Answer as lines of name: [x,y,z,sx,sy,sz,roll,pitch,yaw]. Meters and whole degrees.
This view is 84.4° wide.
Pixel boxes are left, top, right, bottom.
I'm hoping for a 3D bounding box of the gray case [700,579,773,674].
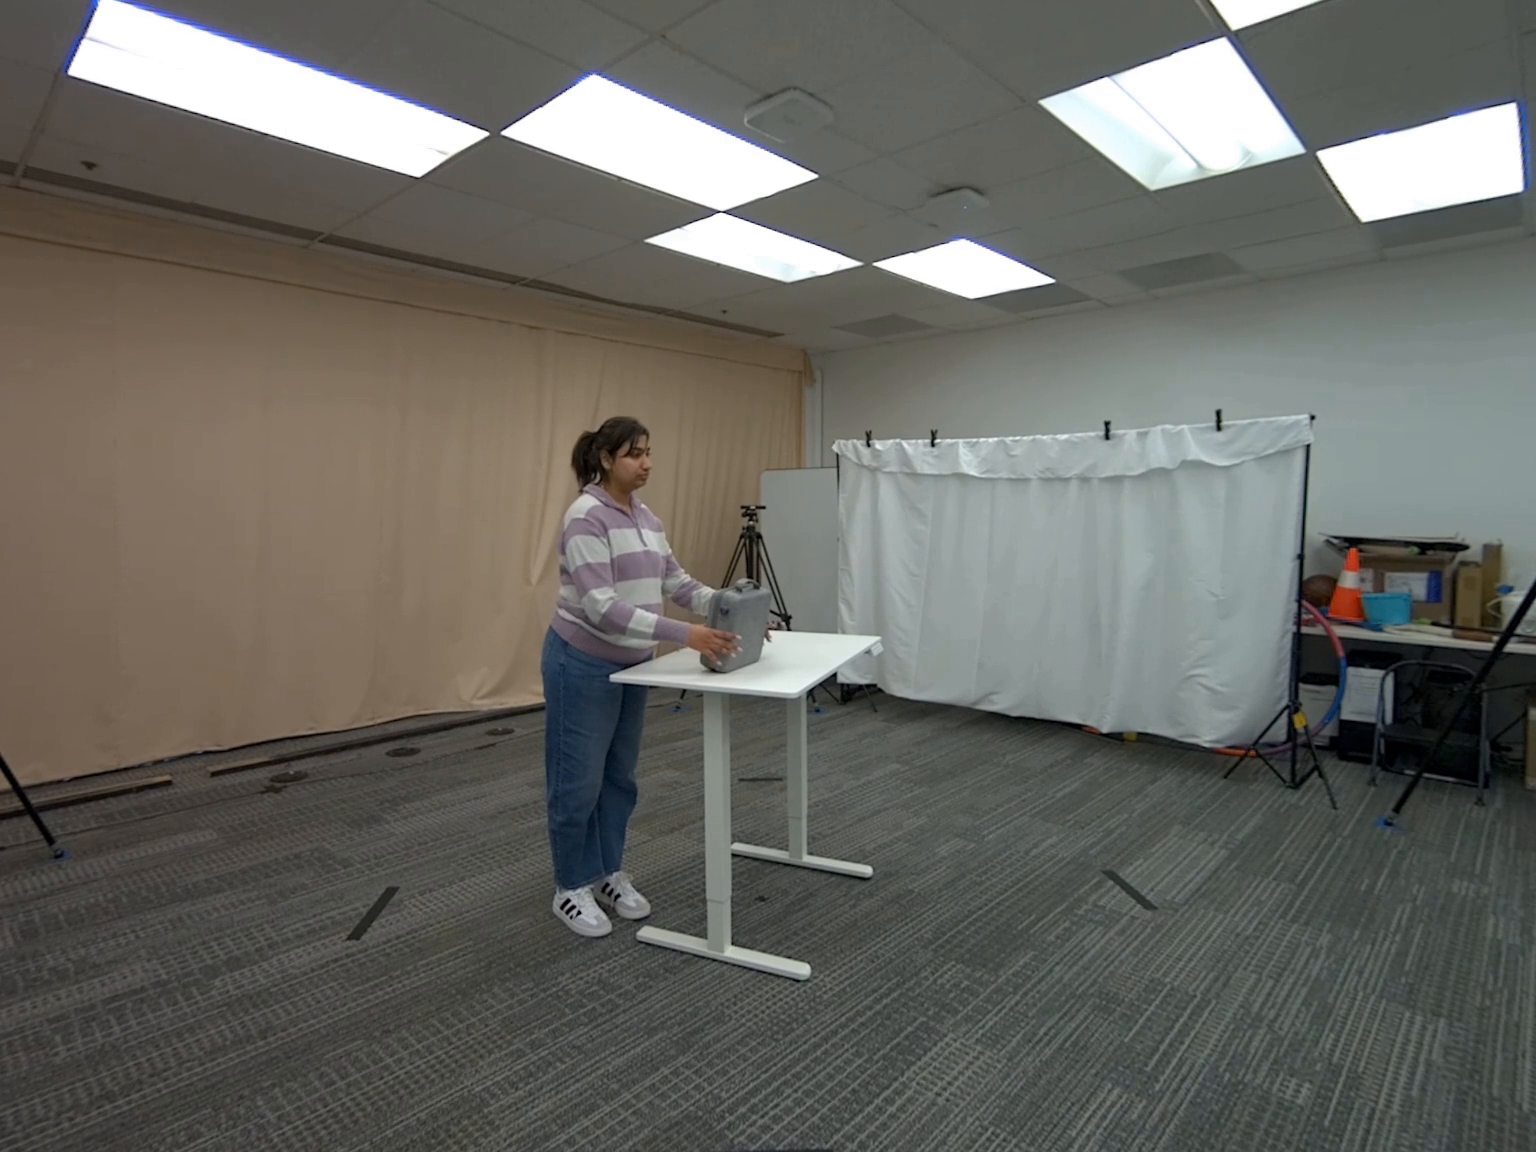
gray case: [-0.090,0.158,2.653,0.107,0.259,0.250,15,13,28]
